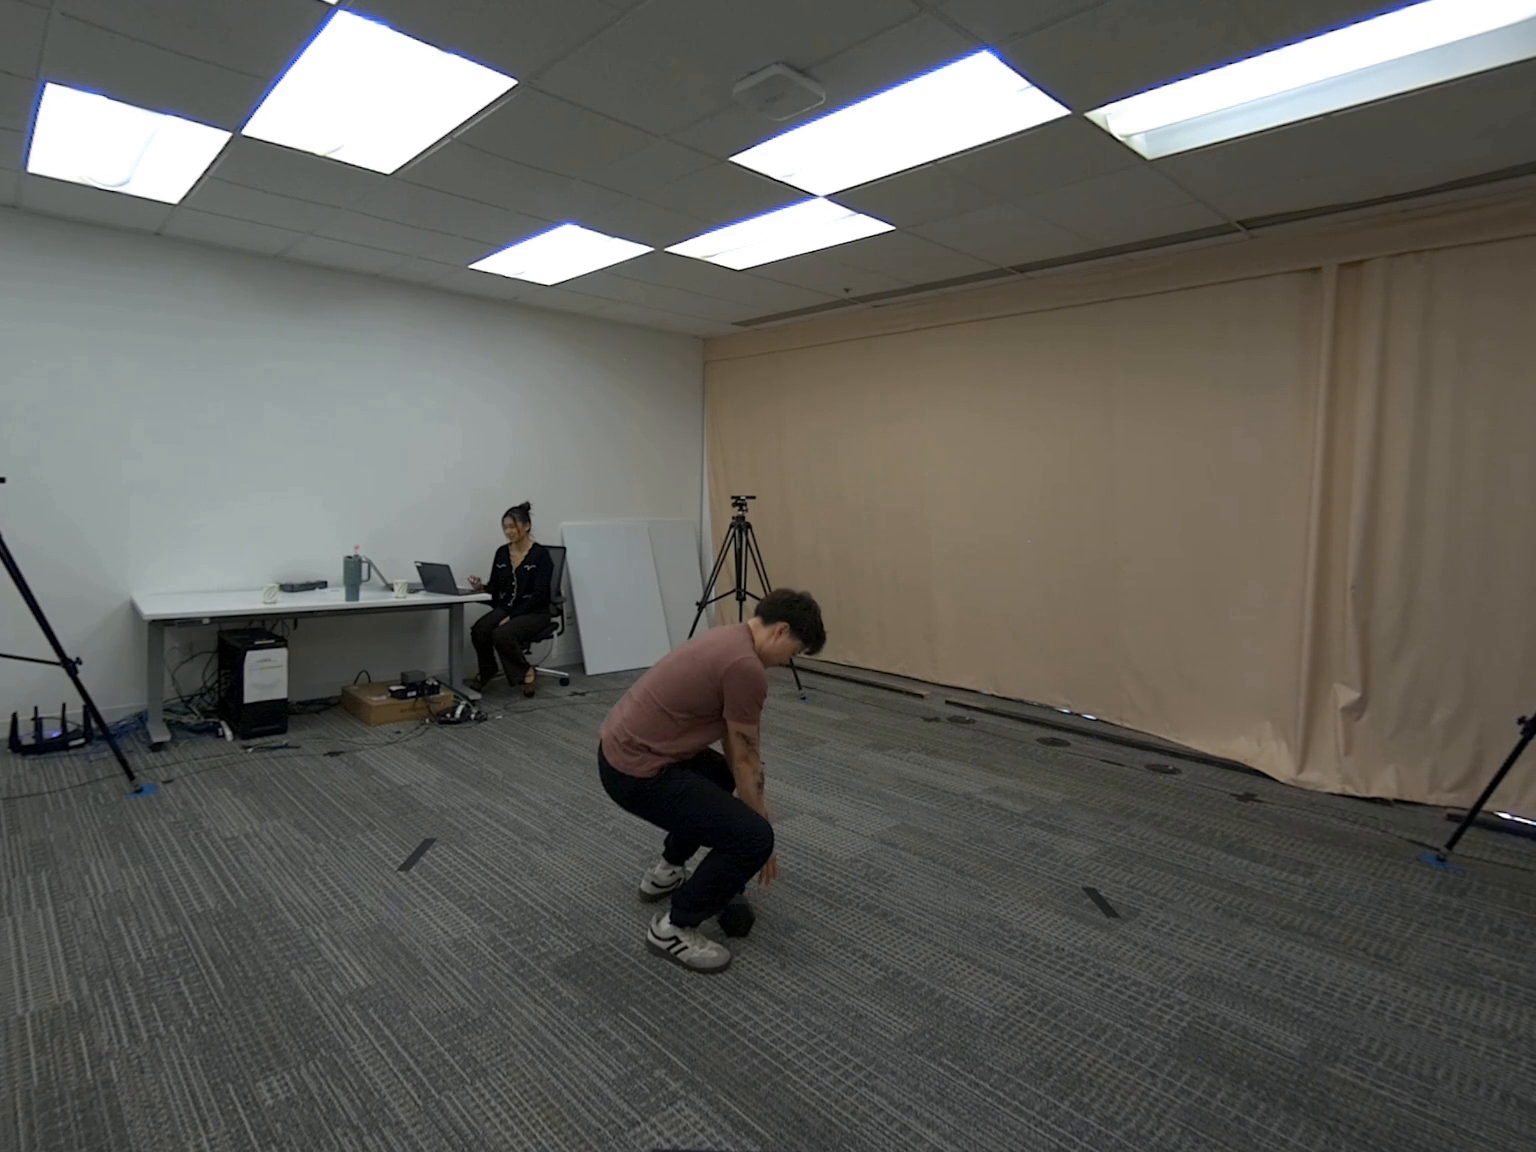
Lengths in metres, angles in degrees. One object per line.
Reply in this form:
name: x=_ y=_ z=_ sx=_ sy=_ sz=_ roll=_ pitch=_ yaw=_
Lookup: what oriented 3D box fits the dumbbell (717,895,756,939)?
dumbbell: x=-0.119 y=1.083 z=2.789 sx=0.108 sy=0.123 sz=0.295 roll=28 pitch=-1 yaw=-8
